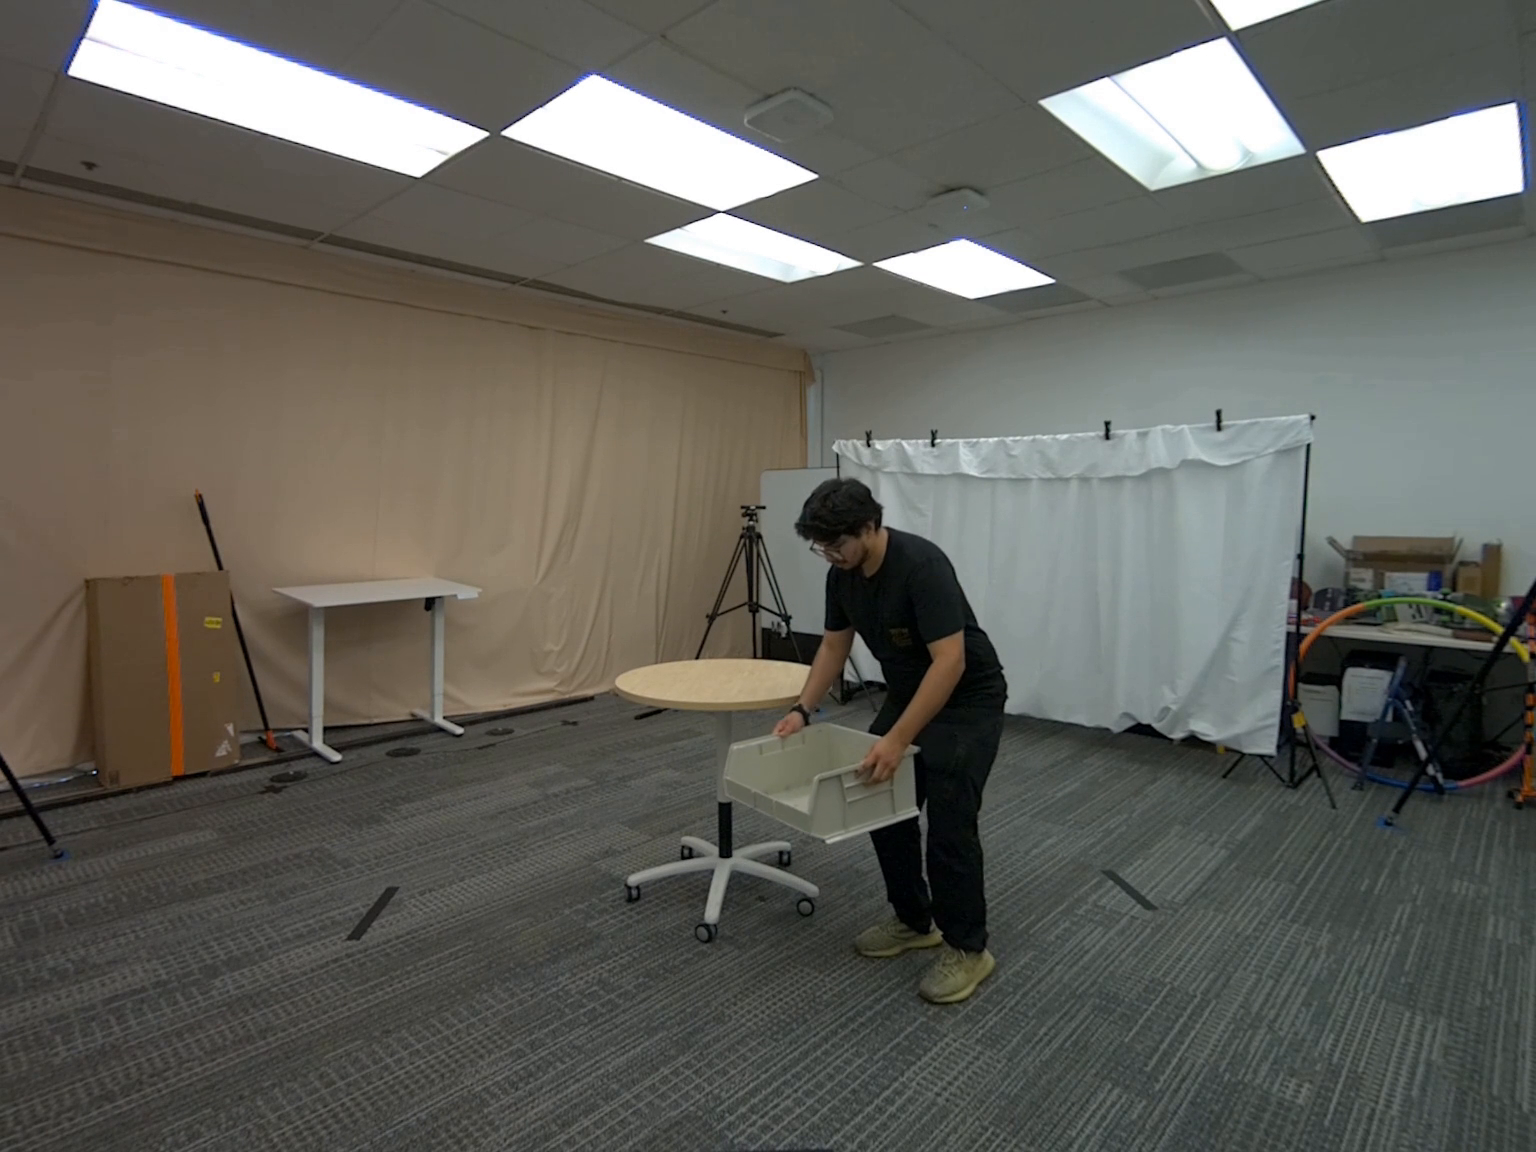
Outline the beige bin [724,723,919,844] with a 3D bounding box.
[{"bbox_3d":[0.152,0.563,2.339,0.367,0.189,0.434,-5,2,-33],"label":"beige bin"}]
